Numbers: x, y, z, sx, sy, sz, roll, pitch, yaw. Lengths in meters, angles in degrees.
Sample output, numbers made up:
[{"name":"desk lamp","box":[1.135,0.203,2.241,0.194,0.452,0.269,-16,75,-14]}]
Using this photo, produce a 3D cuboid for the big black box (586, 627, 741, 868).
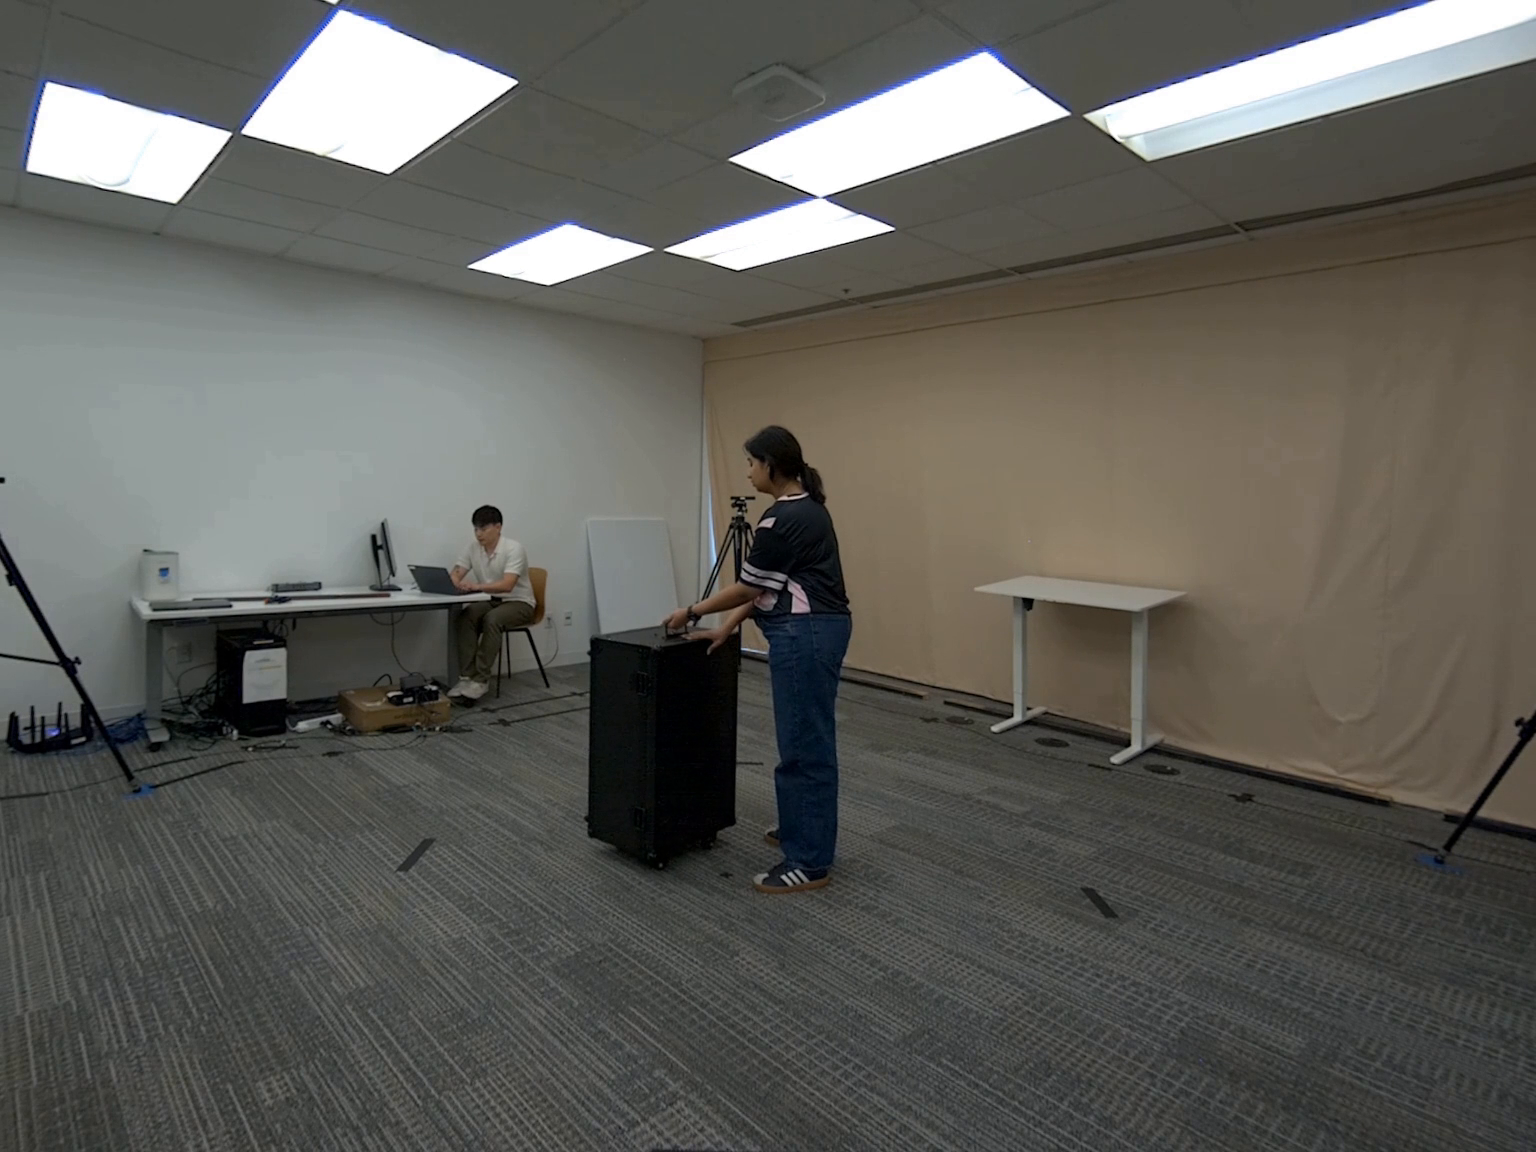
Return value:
[{"name":"big black box","box":[-0.416,0.654,3.310,0.394,0.866,0.512,4,4,36]}]
